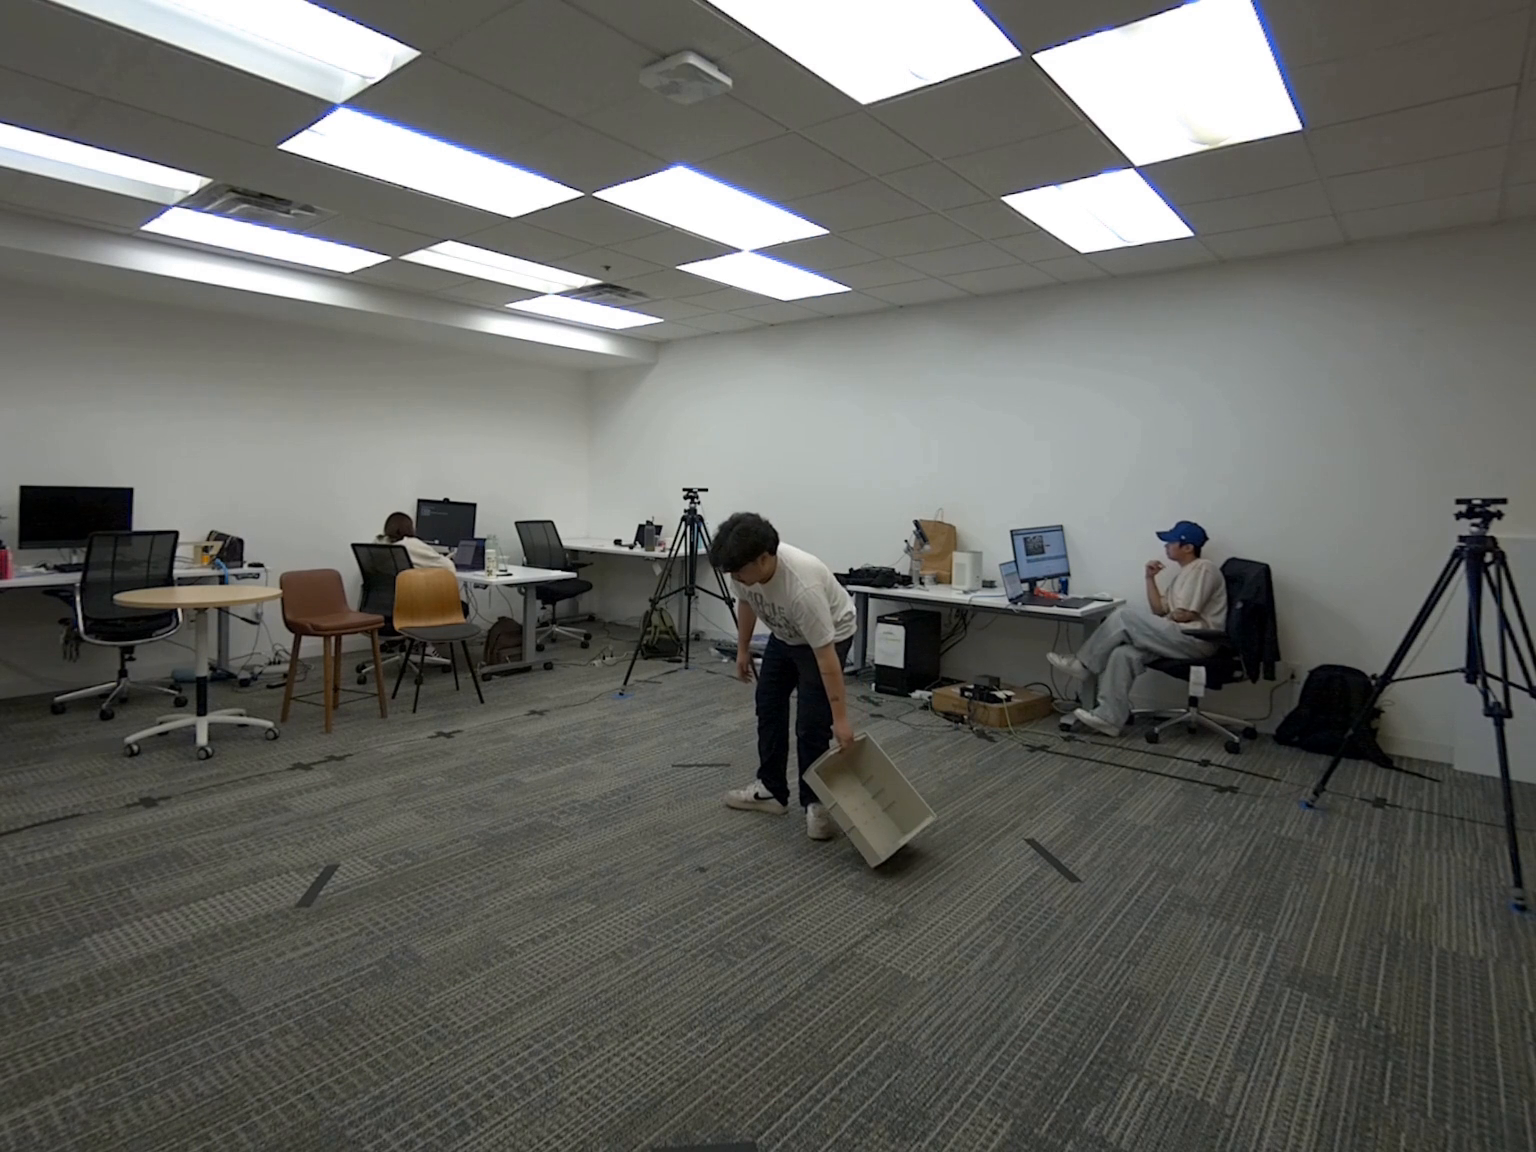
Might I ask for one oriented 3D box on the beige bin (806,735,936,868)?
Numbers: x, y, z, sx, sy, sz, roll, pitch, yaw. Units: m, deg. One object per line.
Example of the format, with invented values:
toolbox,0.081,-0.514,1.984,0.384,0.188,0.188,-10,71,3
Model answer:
beige bin,0.378,0.859,3.288,0.435,0.188,0.367,48,25,21
